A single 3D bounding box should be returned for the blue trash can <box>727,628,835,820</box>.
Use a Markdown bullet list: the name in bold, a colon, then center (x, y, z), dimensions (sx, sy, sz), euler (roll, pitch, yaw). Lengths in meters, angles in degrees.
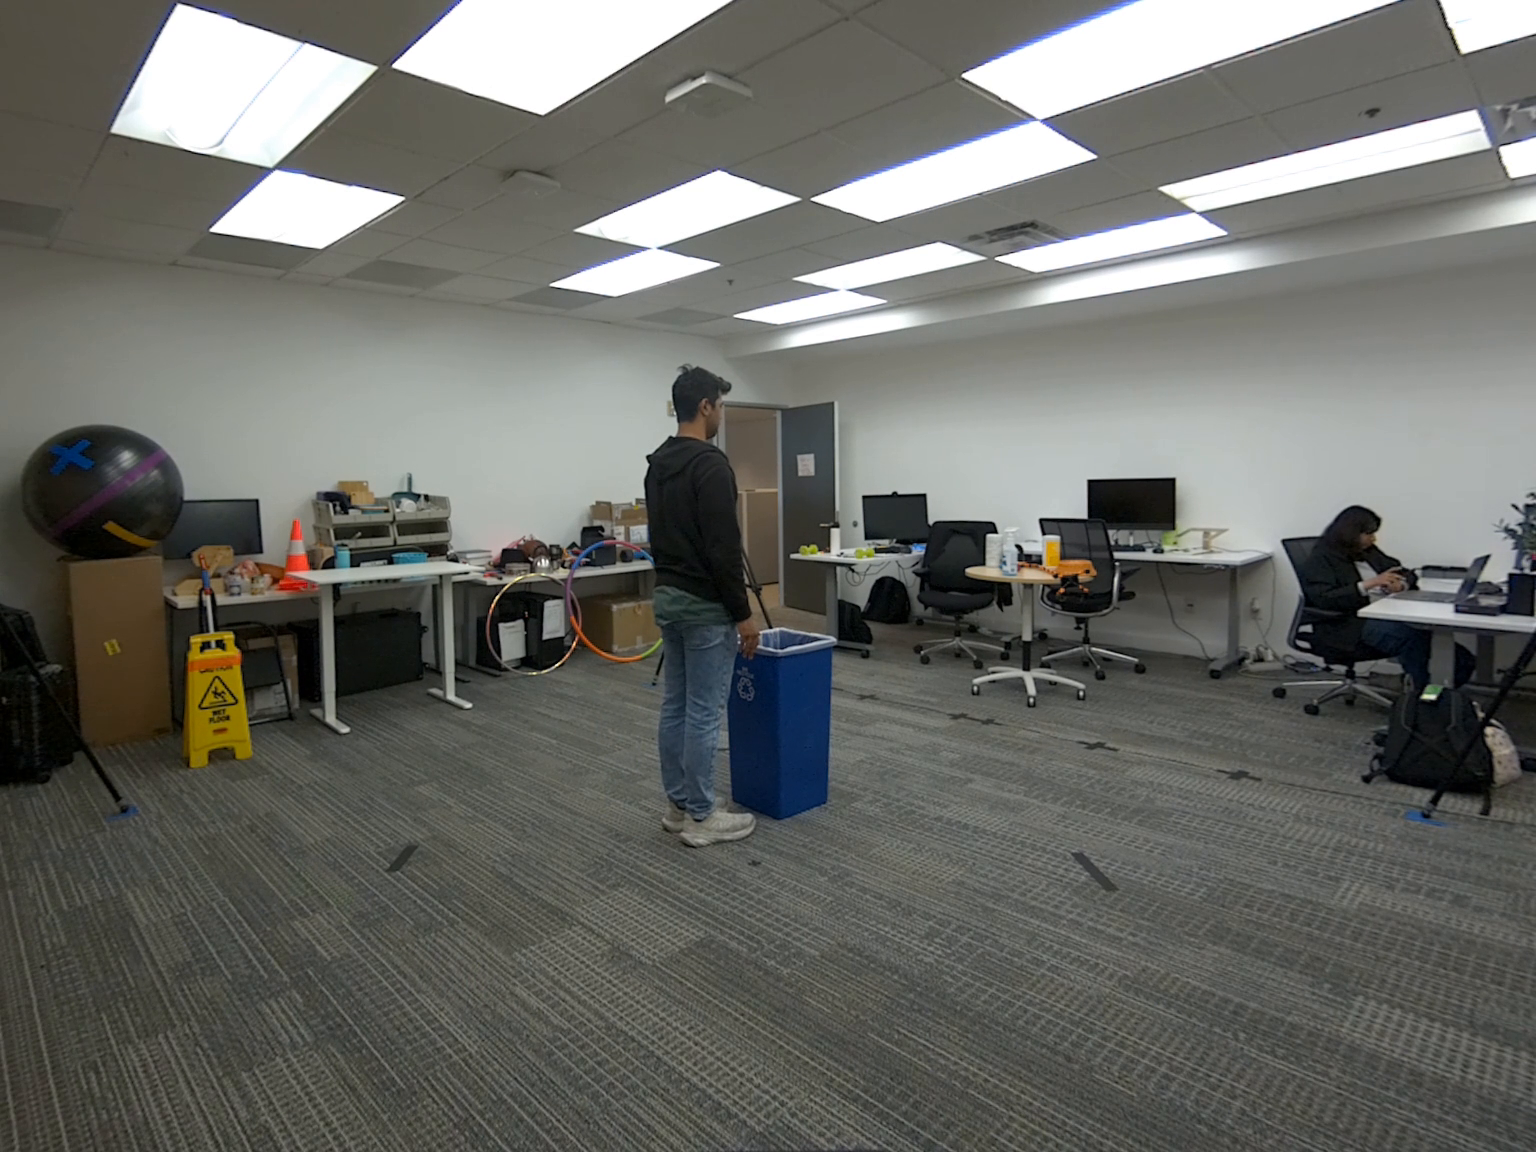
- **blue trash can**: center (0.059, 0.621, 3.673), dimensions (0.368, 0.711, 0.385), euler (-5, 6, -42)
